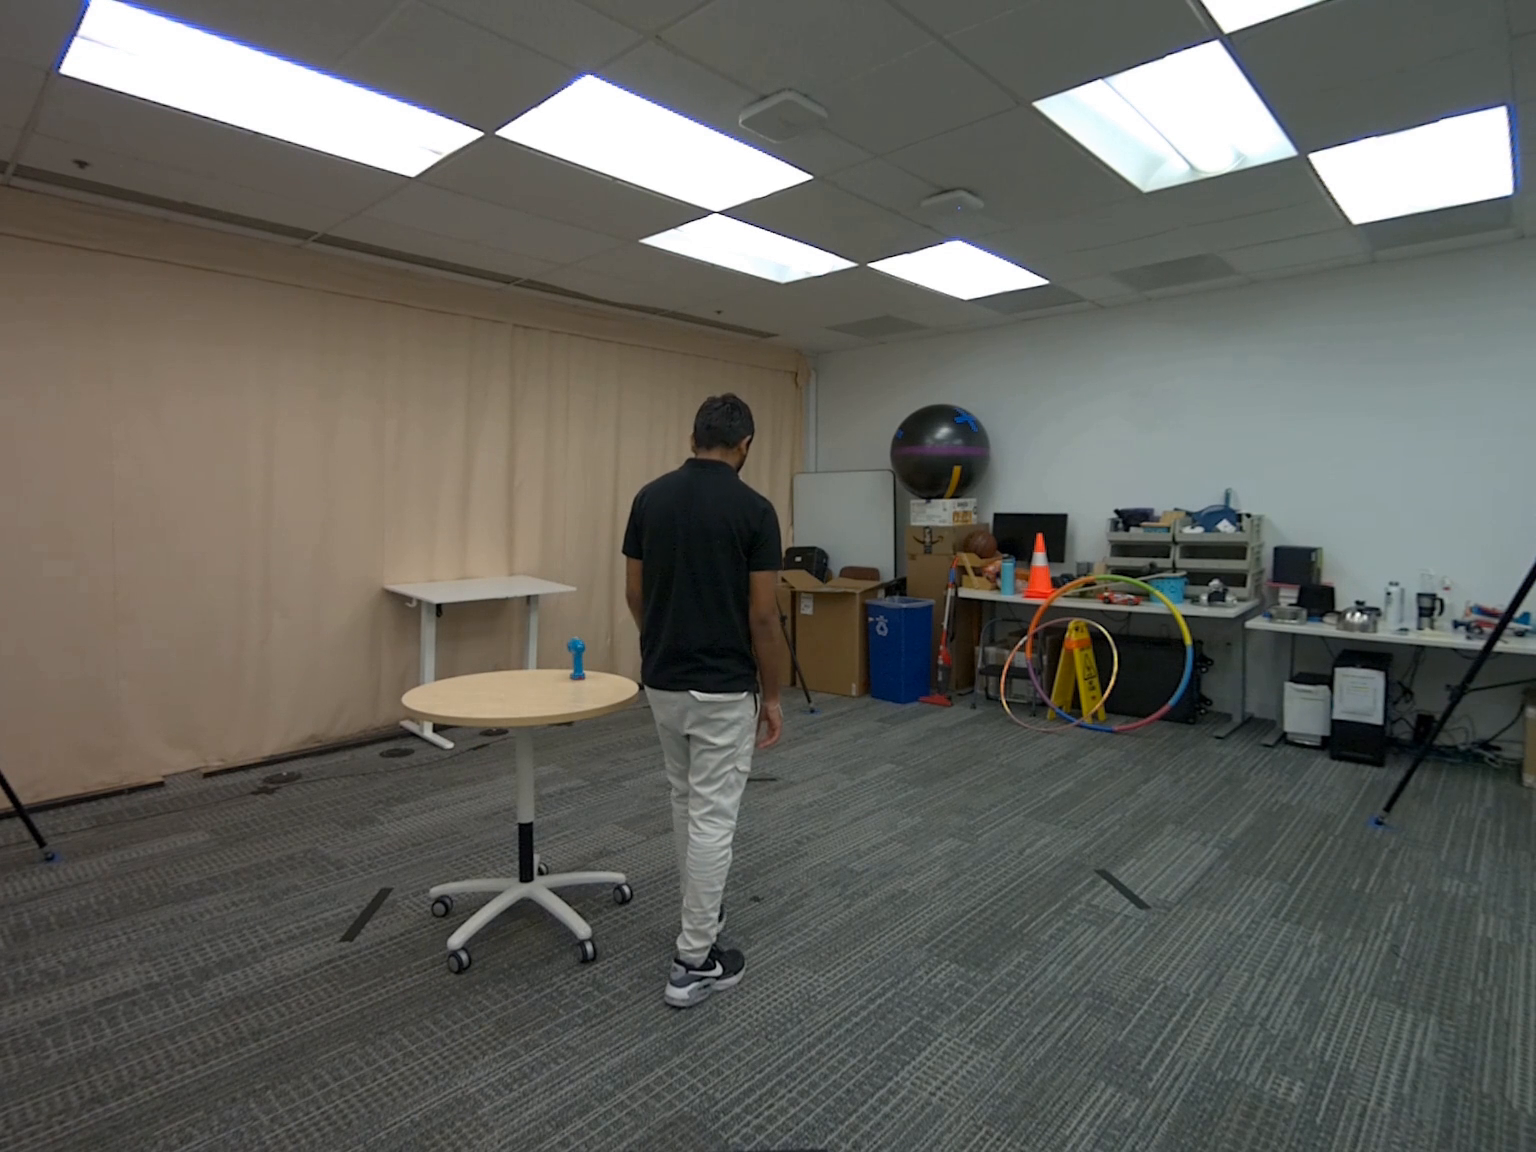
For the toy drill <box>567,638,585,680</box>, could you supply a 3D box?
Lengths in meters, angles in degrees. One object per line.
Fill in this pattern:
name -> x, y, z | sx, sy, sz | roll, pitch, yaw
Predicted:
toy drill -> -0.695, 0.290, 3.042 | 0.060, 0.146, 0.174 | -1, 4, -26
